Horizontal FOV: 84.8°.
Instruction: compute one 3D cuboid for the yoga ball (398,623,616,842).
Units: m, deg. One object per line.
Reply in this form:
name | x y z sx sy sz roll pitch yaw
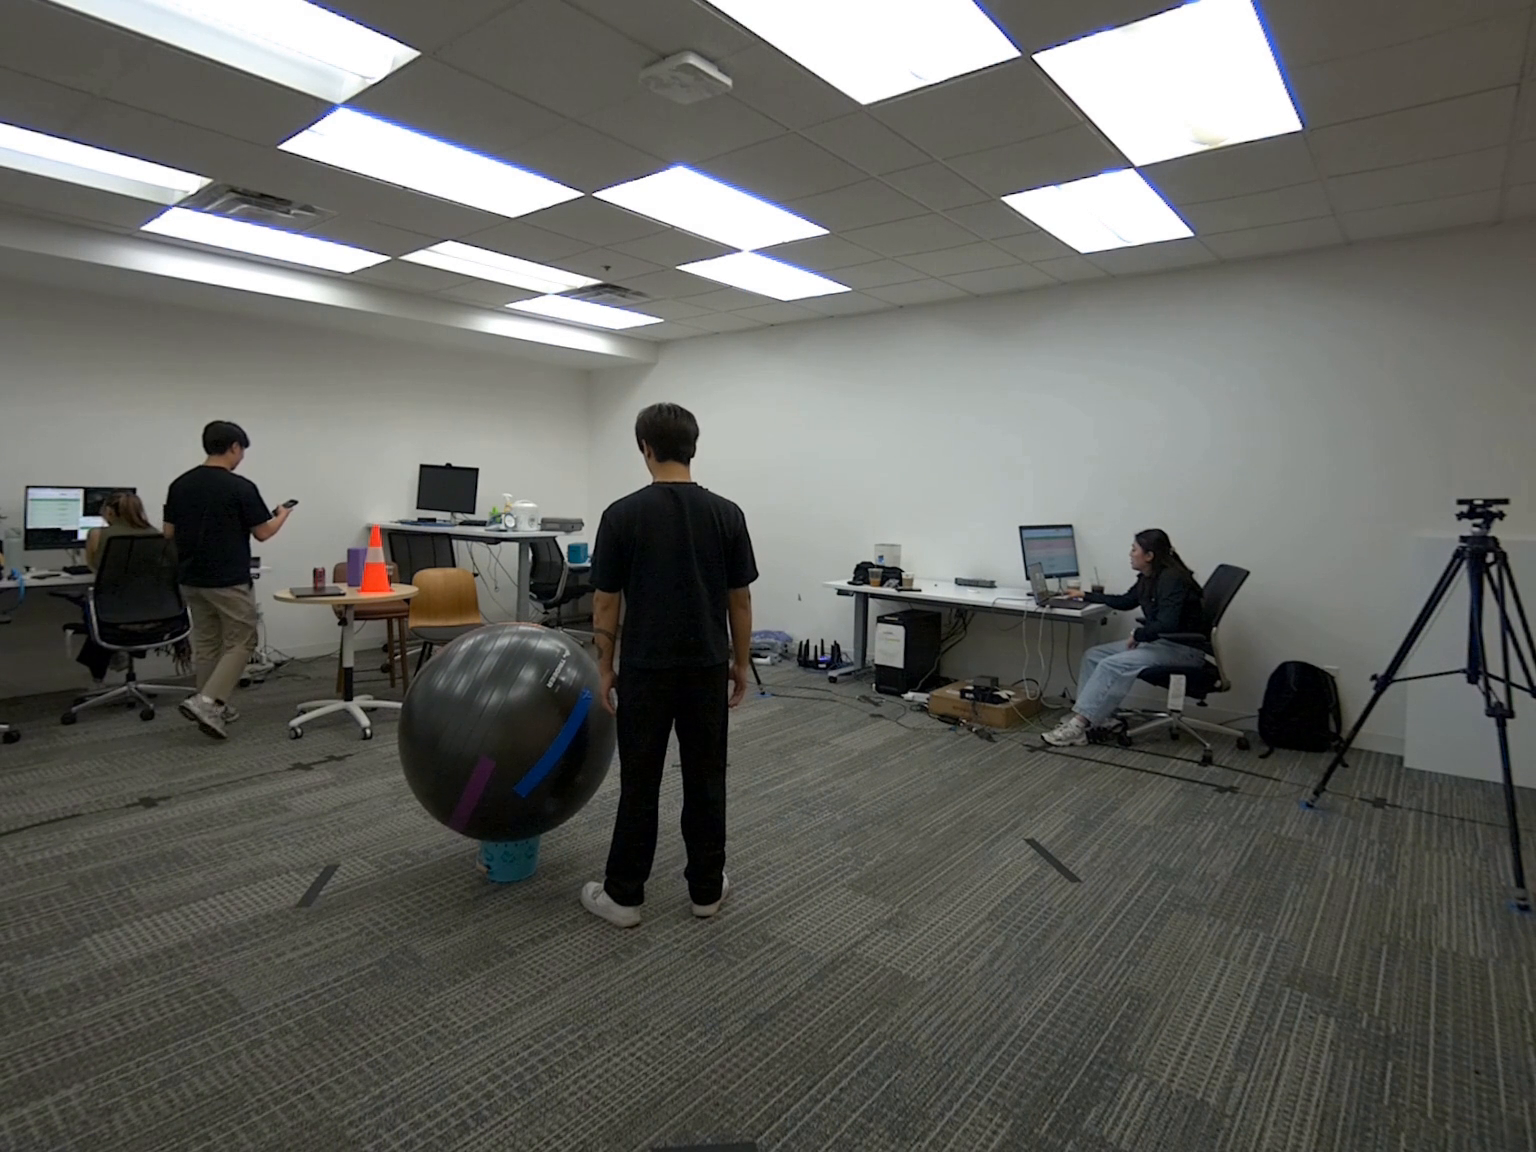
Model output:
yoga ball | -0.944 0.556 3.051 0.757 0.755 0.762 1 4 -2
